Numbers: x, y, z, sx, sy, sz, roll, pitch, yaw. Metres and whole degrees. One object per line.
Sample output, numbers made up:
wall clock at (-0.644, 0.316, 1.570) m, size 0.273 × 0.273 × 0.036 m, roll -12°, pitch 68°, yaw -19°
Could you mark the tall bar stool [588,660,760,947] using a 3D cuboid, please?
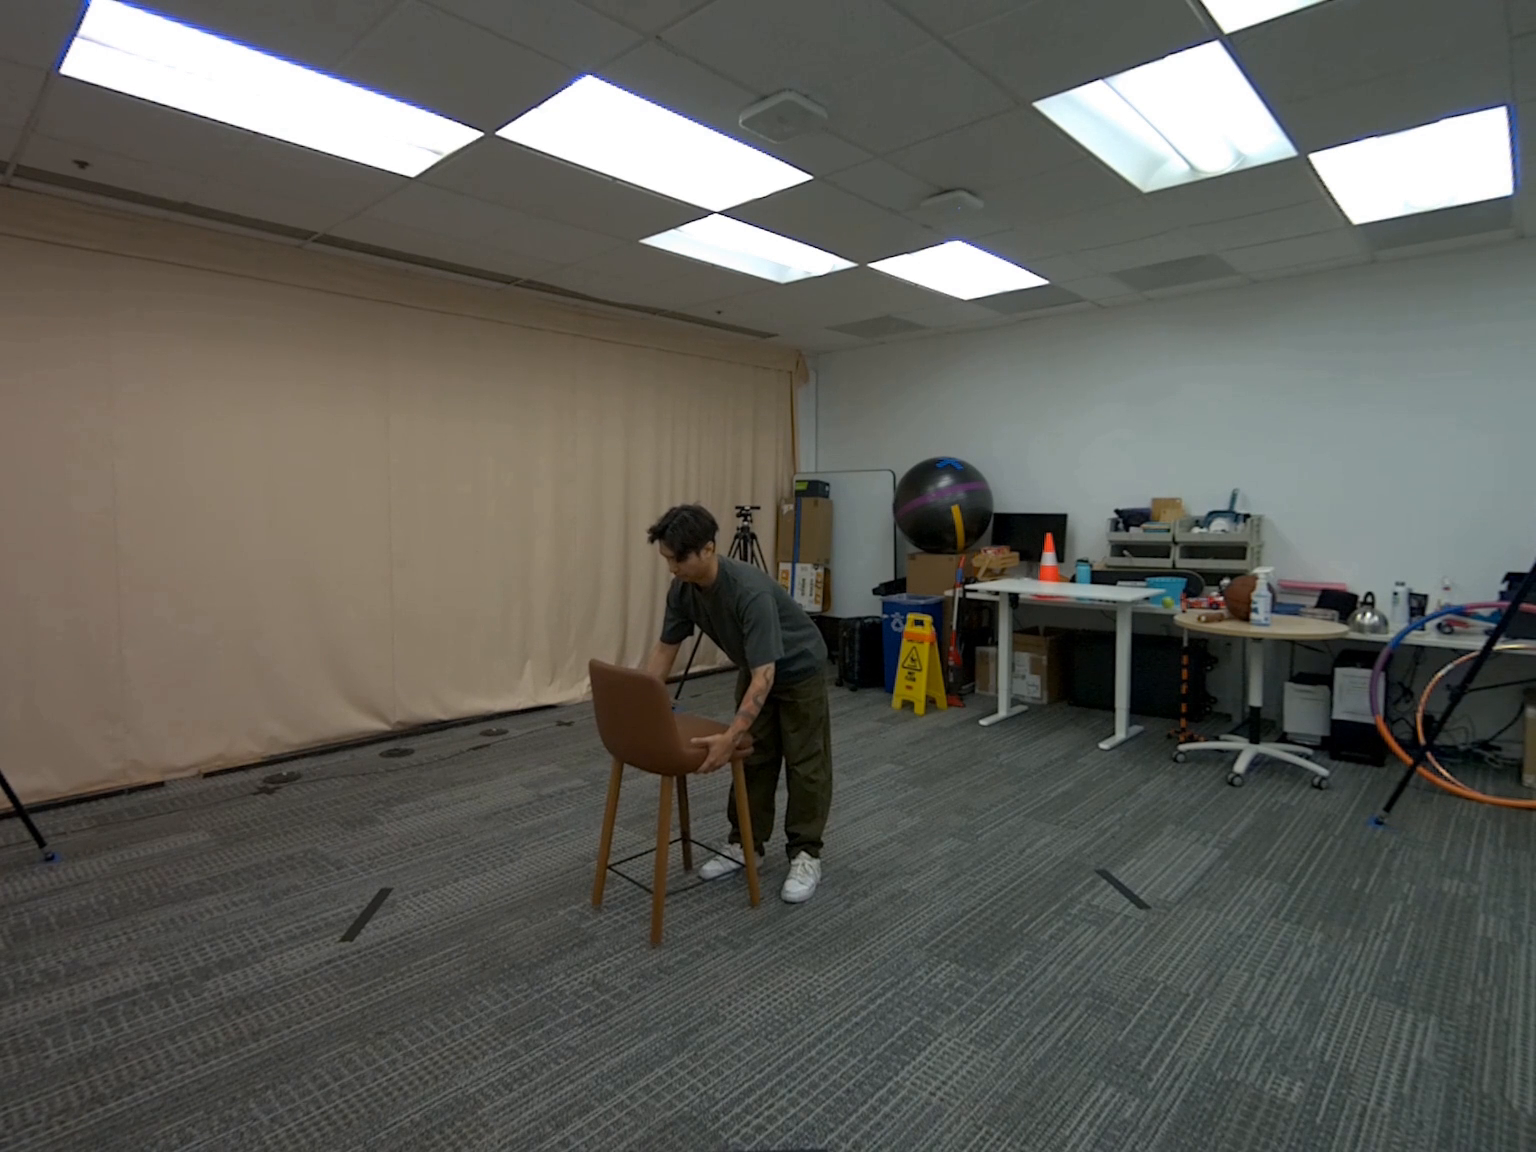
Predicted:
tall bar stool at (-0.330, 0.709, 2.909) m, size 0.454 × 0.887 × 0.472 m, roll -5°, pitch 6°, yaw -42°
